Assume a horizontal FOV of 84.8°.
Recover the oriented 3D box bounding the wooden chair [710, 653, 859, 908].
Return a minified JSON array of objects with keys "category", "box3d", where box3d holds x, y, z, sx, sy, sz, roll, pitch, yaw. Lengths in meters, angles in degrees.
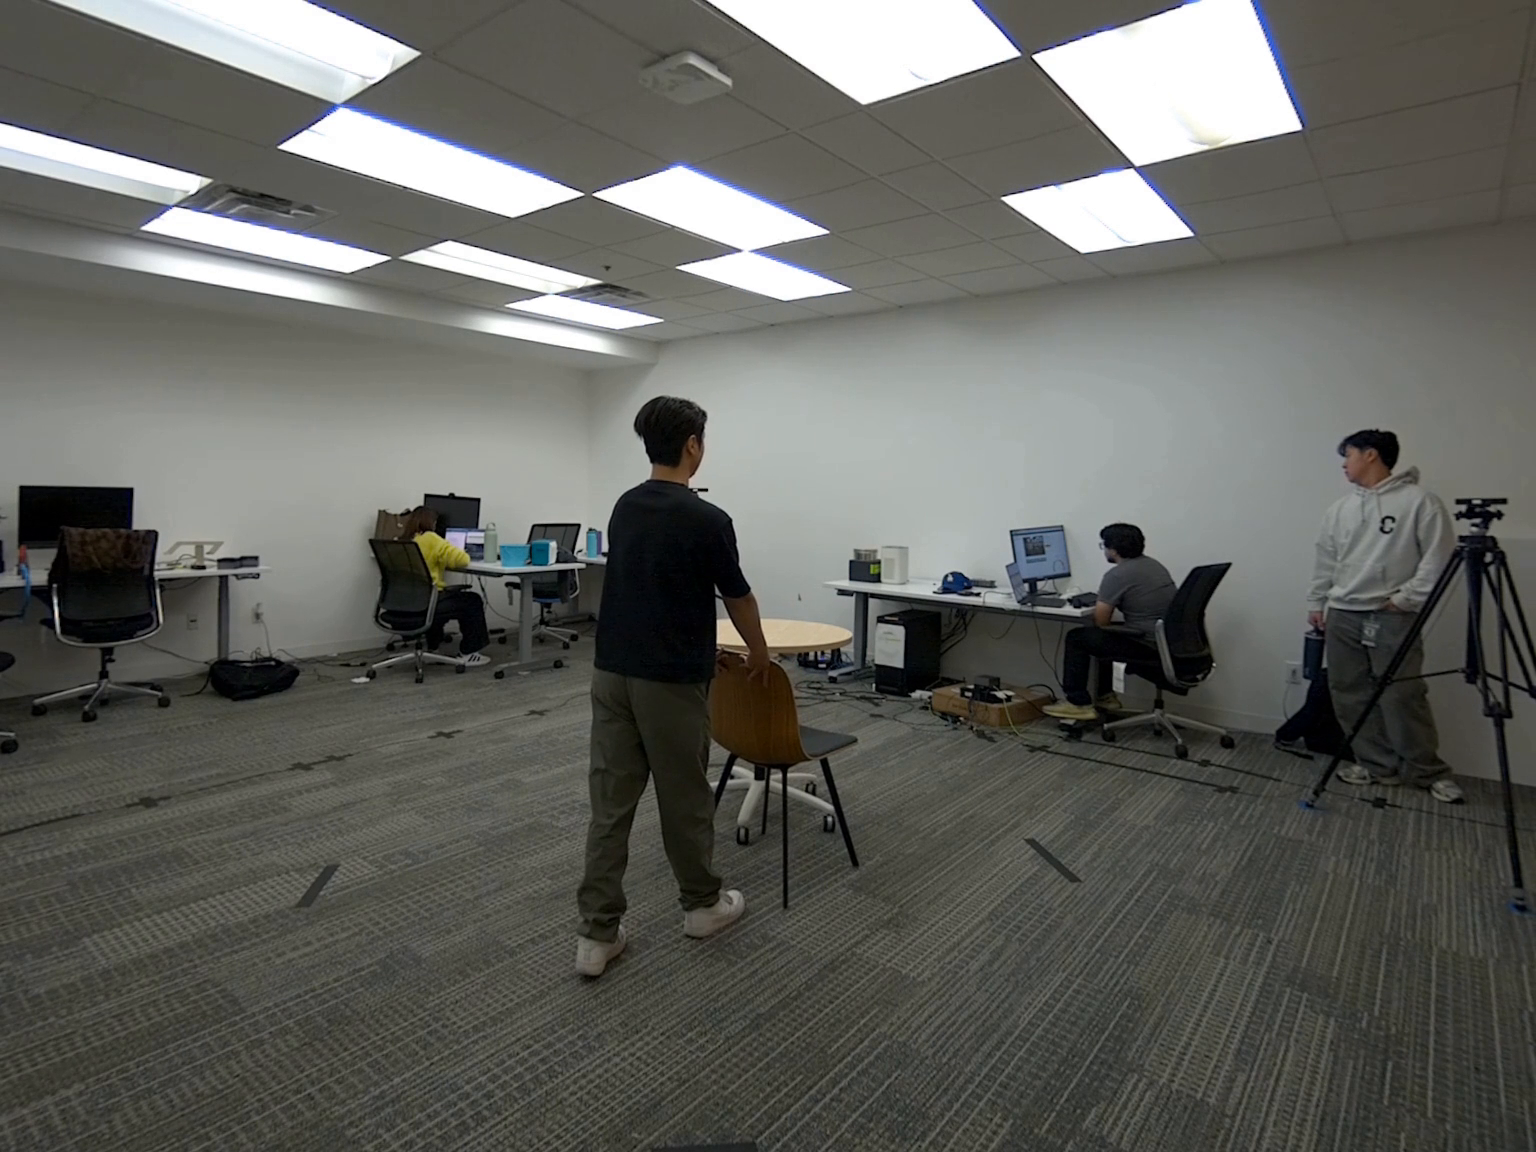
[{"category":"wooden chair","box3d":[0.027,0.644,3.114,0.494,0.872,0.509,4,9,39]}]
